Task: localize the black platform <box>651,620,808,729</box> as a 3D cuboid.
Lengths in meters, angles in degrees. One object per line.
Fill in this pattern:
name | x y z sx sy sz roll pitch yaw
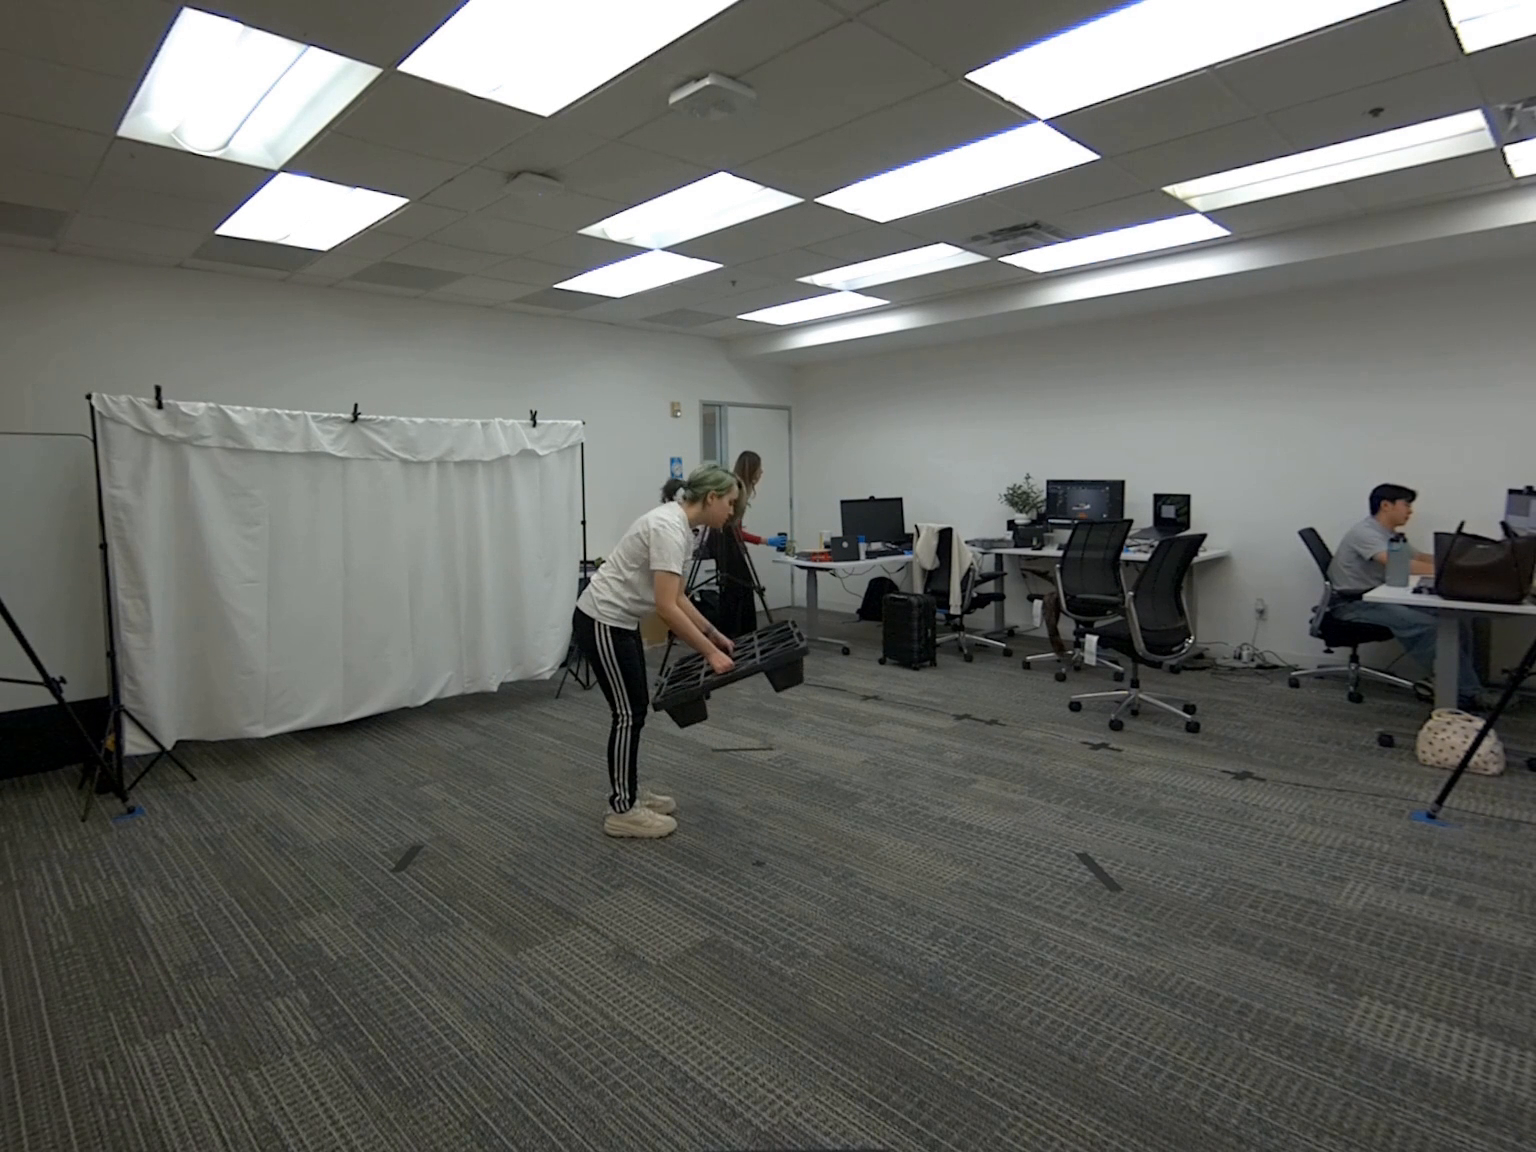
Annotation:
black platform | -0.127 0.378 3.409 0.605 0.143 0.807 -22 4 1
